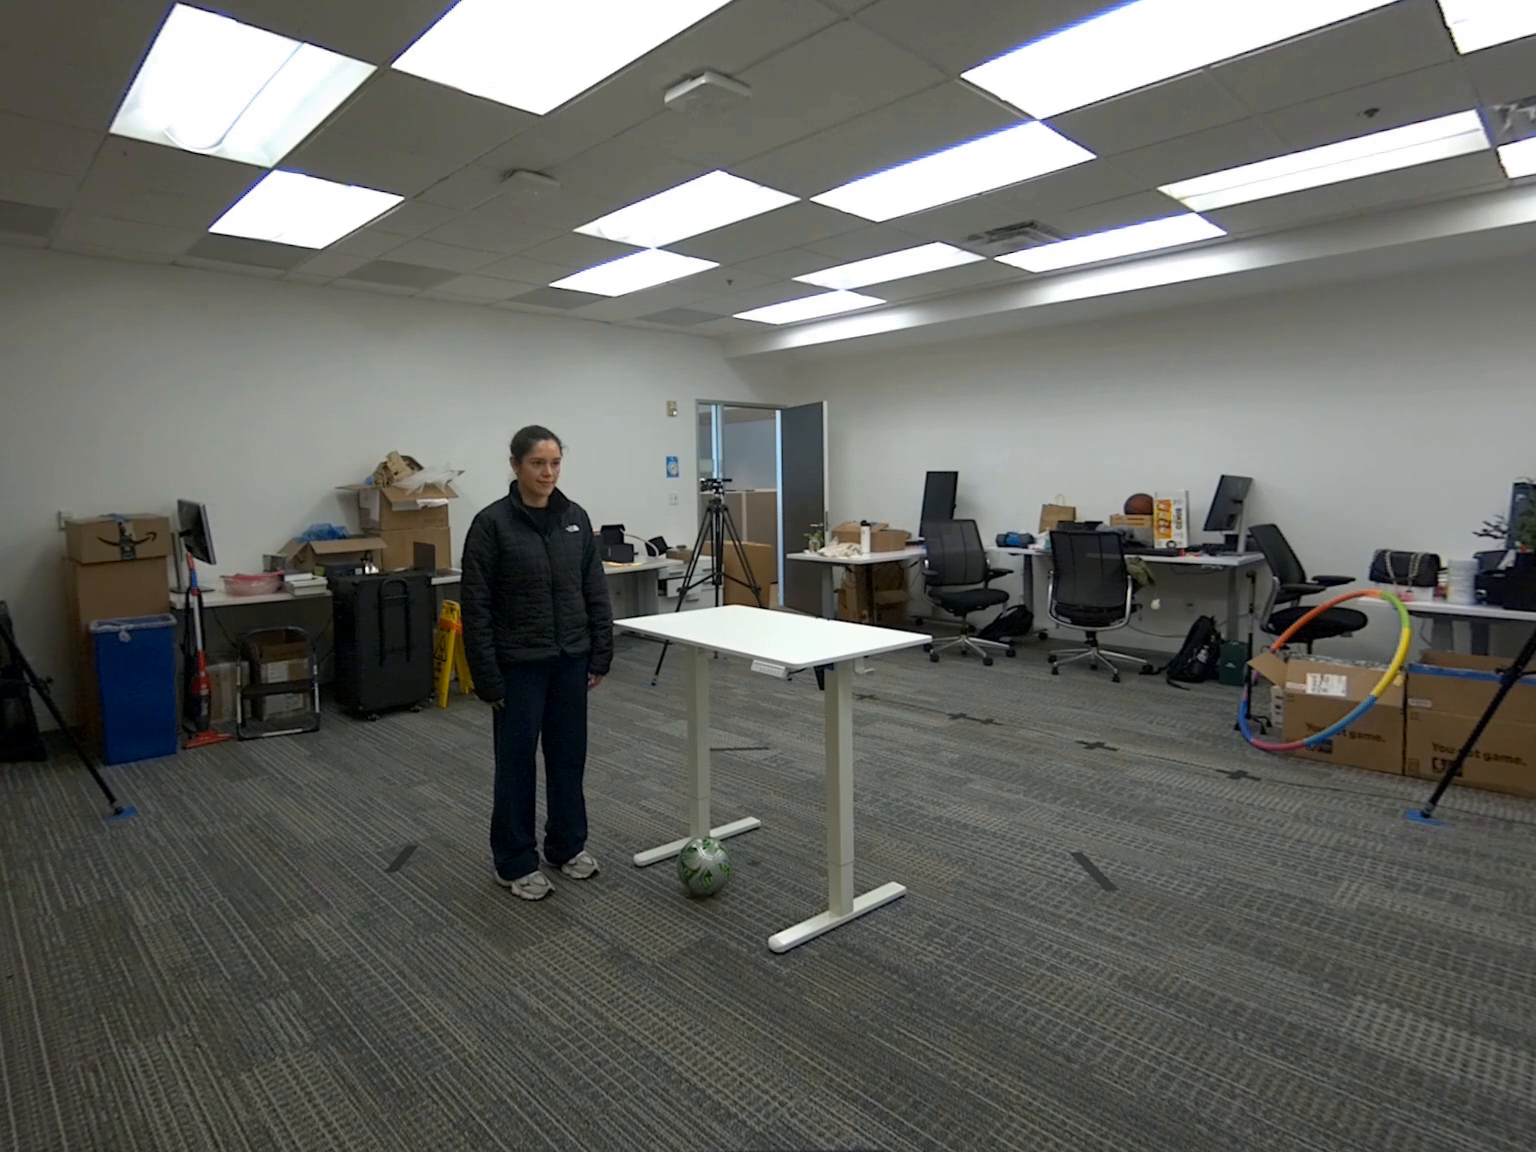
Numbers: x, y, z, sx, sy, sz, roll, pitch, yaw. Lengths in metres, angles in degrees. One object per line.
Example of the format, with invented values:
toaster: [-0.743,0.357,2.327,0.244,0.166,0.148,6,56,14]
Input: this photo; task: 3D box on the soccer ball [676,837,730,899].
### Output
soccer ball: [-0.215,0.969,2.892,0.187,0.187,0.188,-1,5,-2]
